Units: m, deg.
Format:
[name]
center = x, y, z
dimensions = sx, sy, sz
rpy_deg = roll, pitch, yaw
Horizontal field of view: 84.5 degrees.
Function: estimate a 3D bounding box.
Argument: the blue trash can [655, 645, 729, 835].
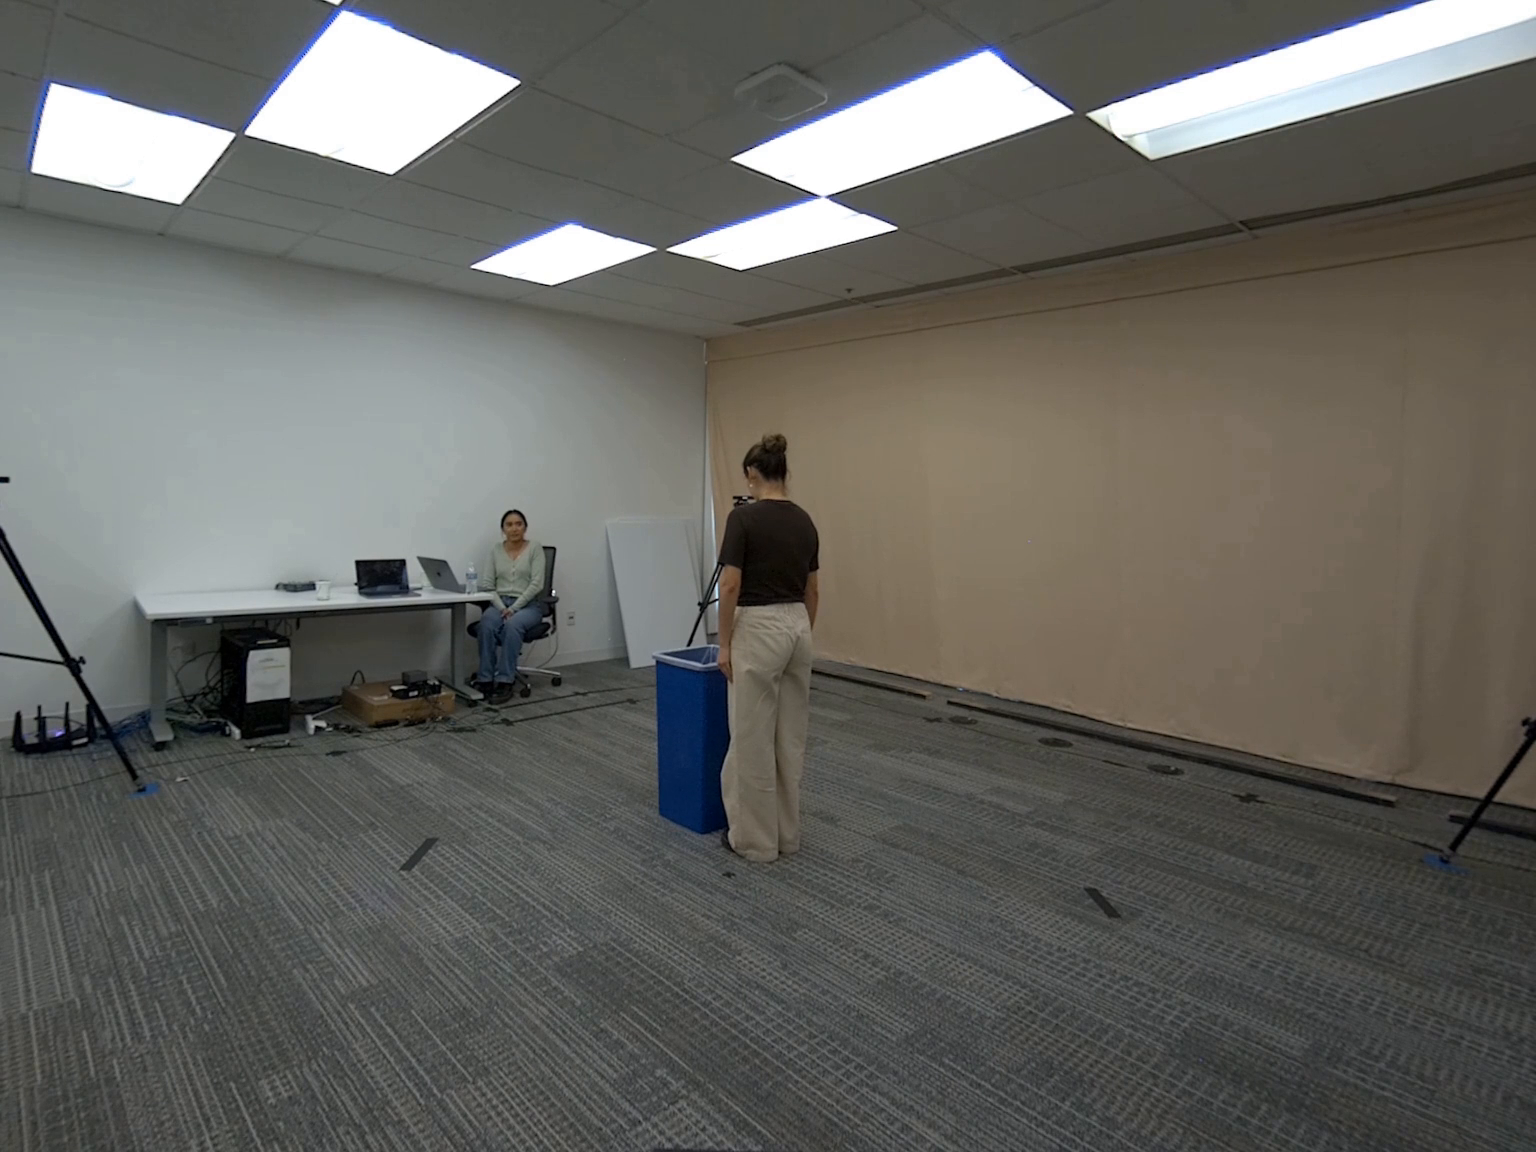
[blue trash can]
center = -0.279, 0.693, 3.663
dimensions = 0.369, 0.712, 0.383
rpy_deg = -2, 5, -45
